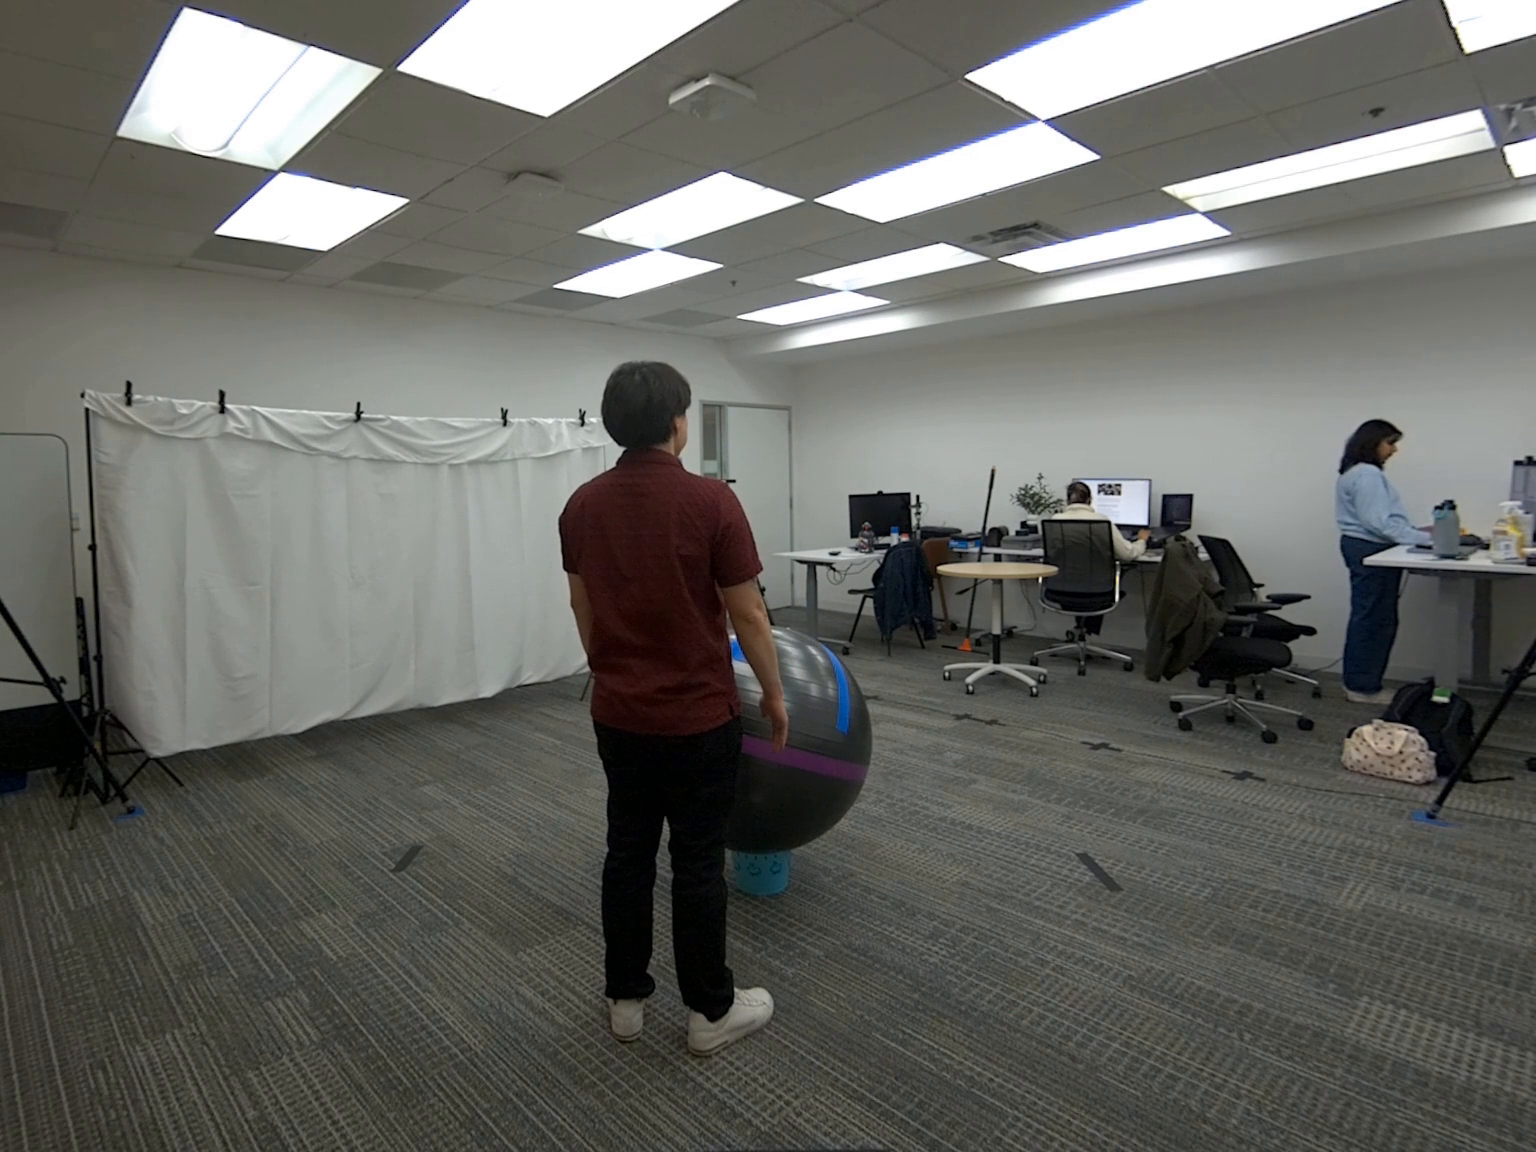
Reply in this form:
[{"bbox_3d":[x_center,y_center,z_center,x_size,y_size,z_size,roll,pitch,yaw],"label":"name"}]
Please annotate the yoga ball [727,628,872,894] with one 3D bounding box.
[{"bbox_3d":[-0.019,0.558,2.952,0.757,0.755,0.762,-1,5,-2],"label":"yoga ball"}]
